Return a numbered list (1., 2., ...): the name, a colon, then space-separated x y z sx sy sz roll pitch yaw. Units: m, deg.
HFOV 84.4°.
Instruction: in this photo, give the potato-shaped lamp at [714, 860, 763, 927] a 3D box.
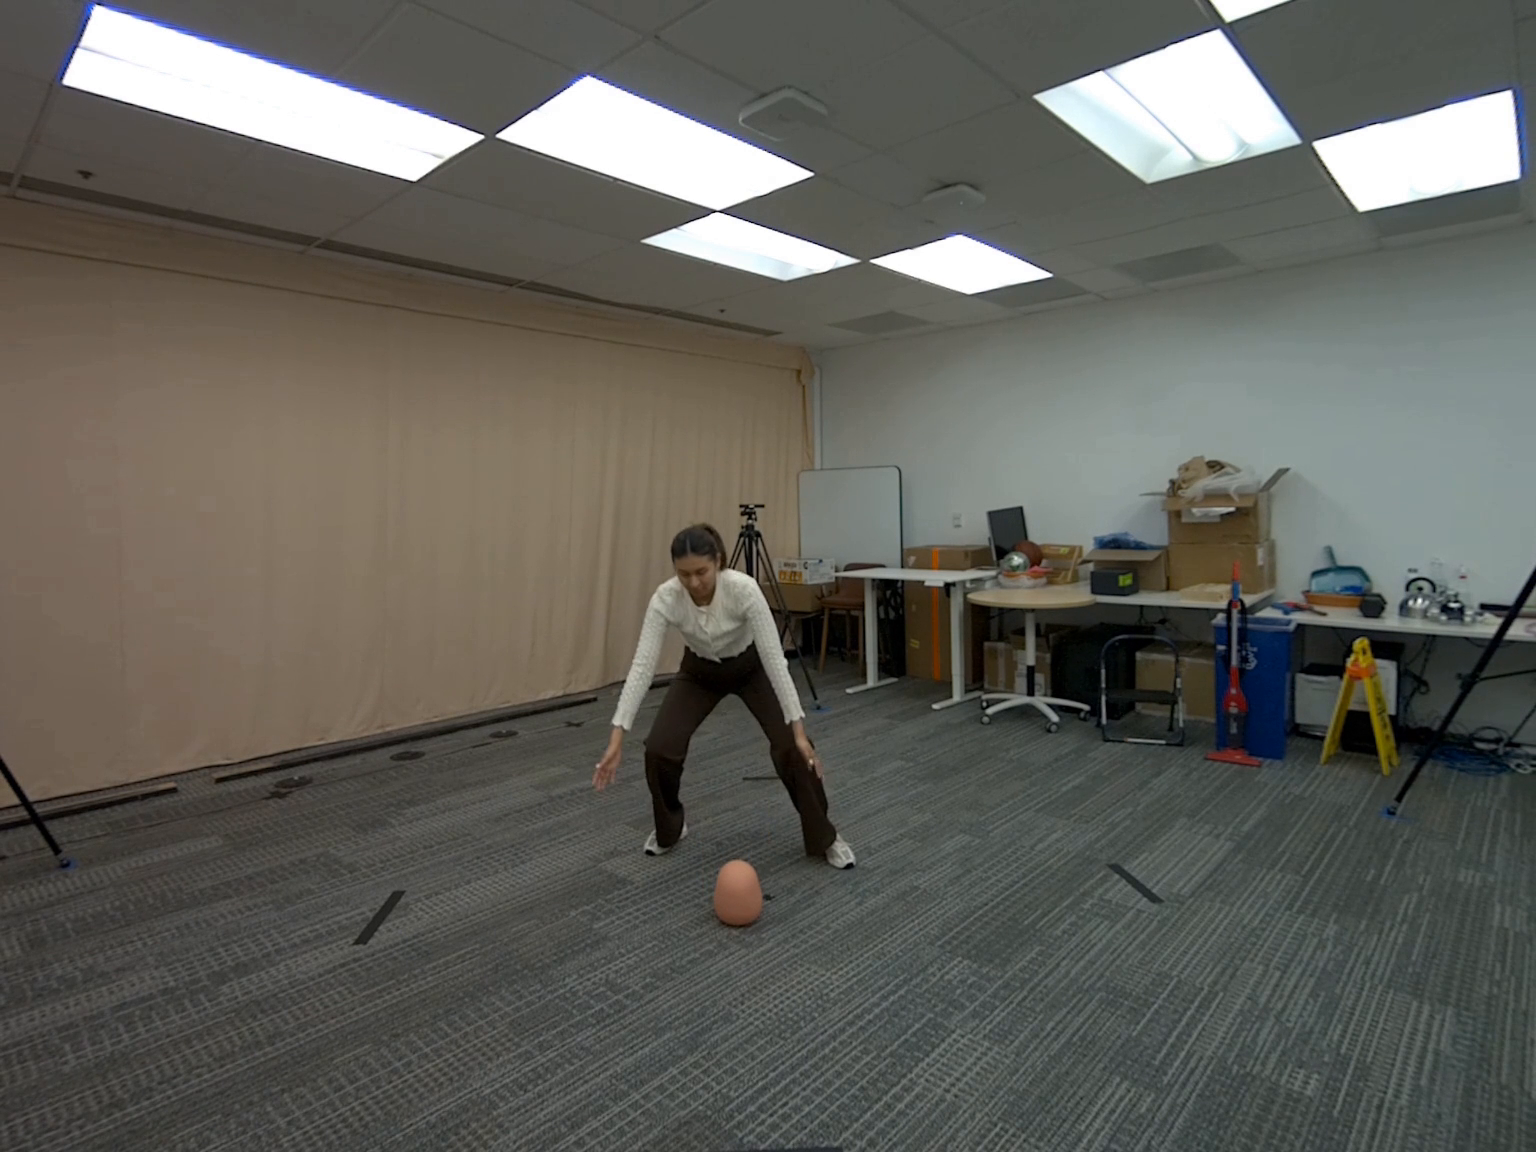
1. potato-shaped lamp: -0.098 1.056 2.820 0.166 0.198 0.170 0 3 8
